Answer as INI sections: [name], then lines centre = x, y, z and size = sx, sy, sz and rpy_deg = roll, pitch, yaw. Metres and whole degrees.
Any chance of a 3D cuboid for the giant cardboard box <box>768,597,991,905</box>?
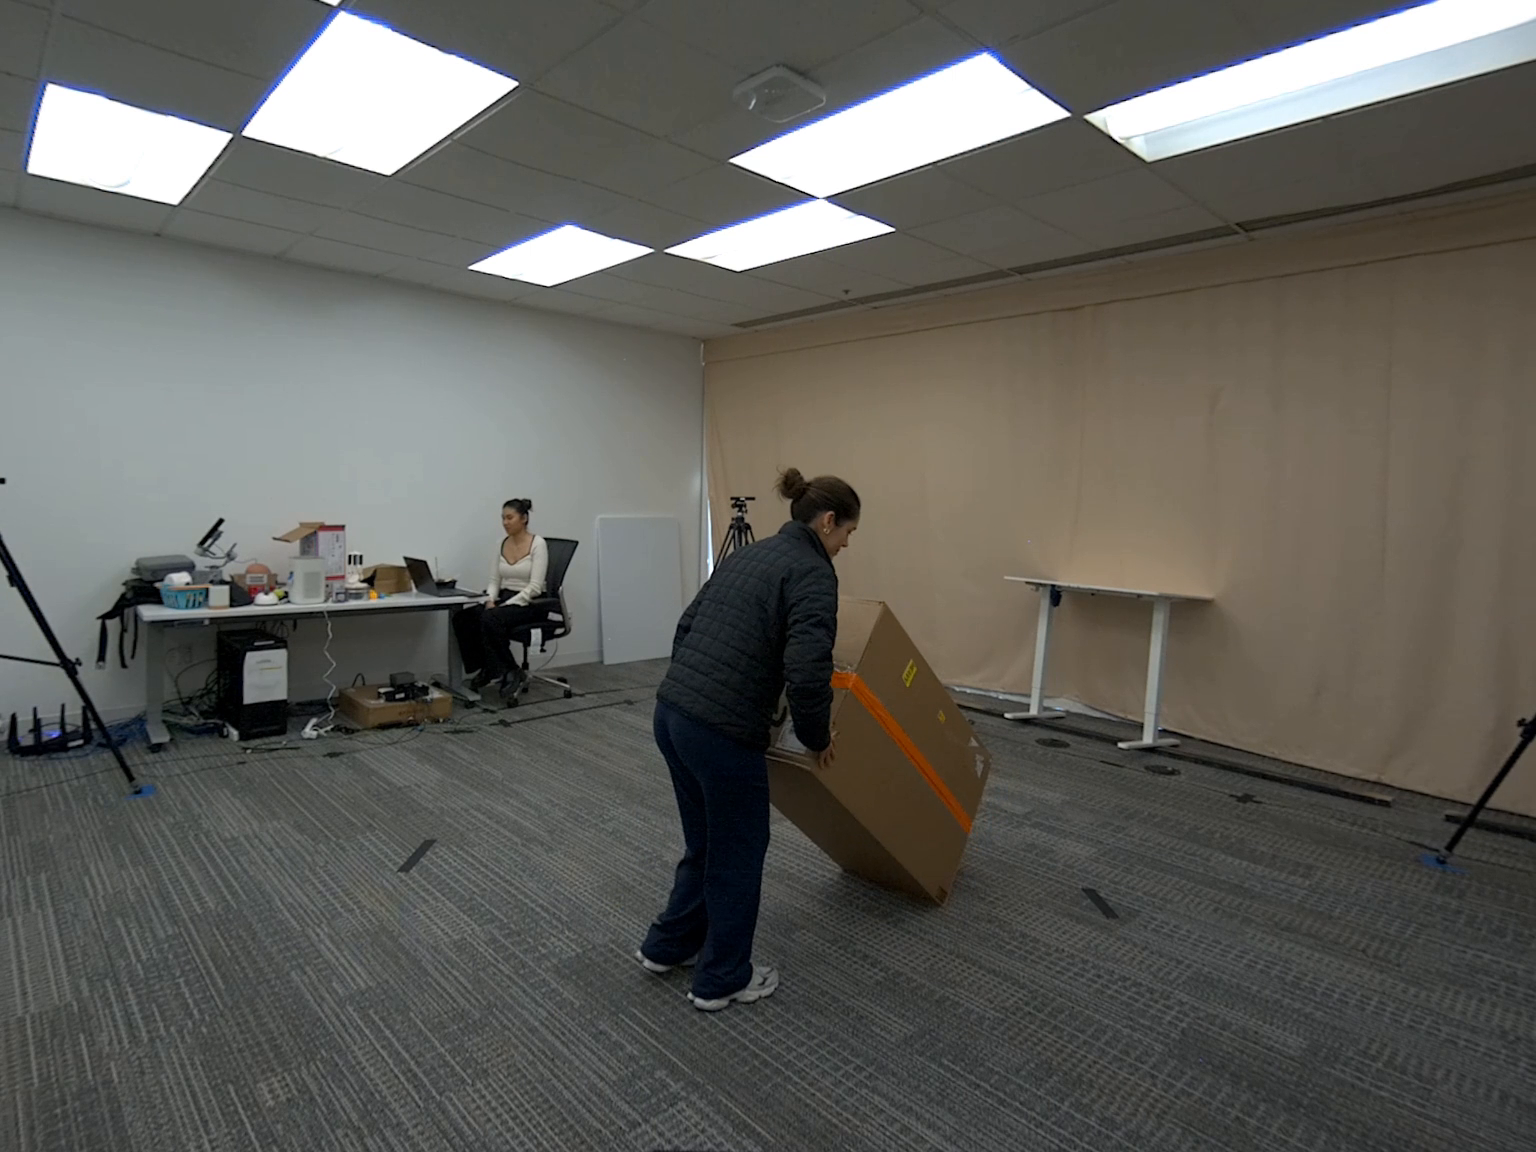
[giant cardboard box]
centre = 0.319, 0.594, 2.856
size = 0.458, 0.587, 0.995
rpy_deg = 5, -34, 41
